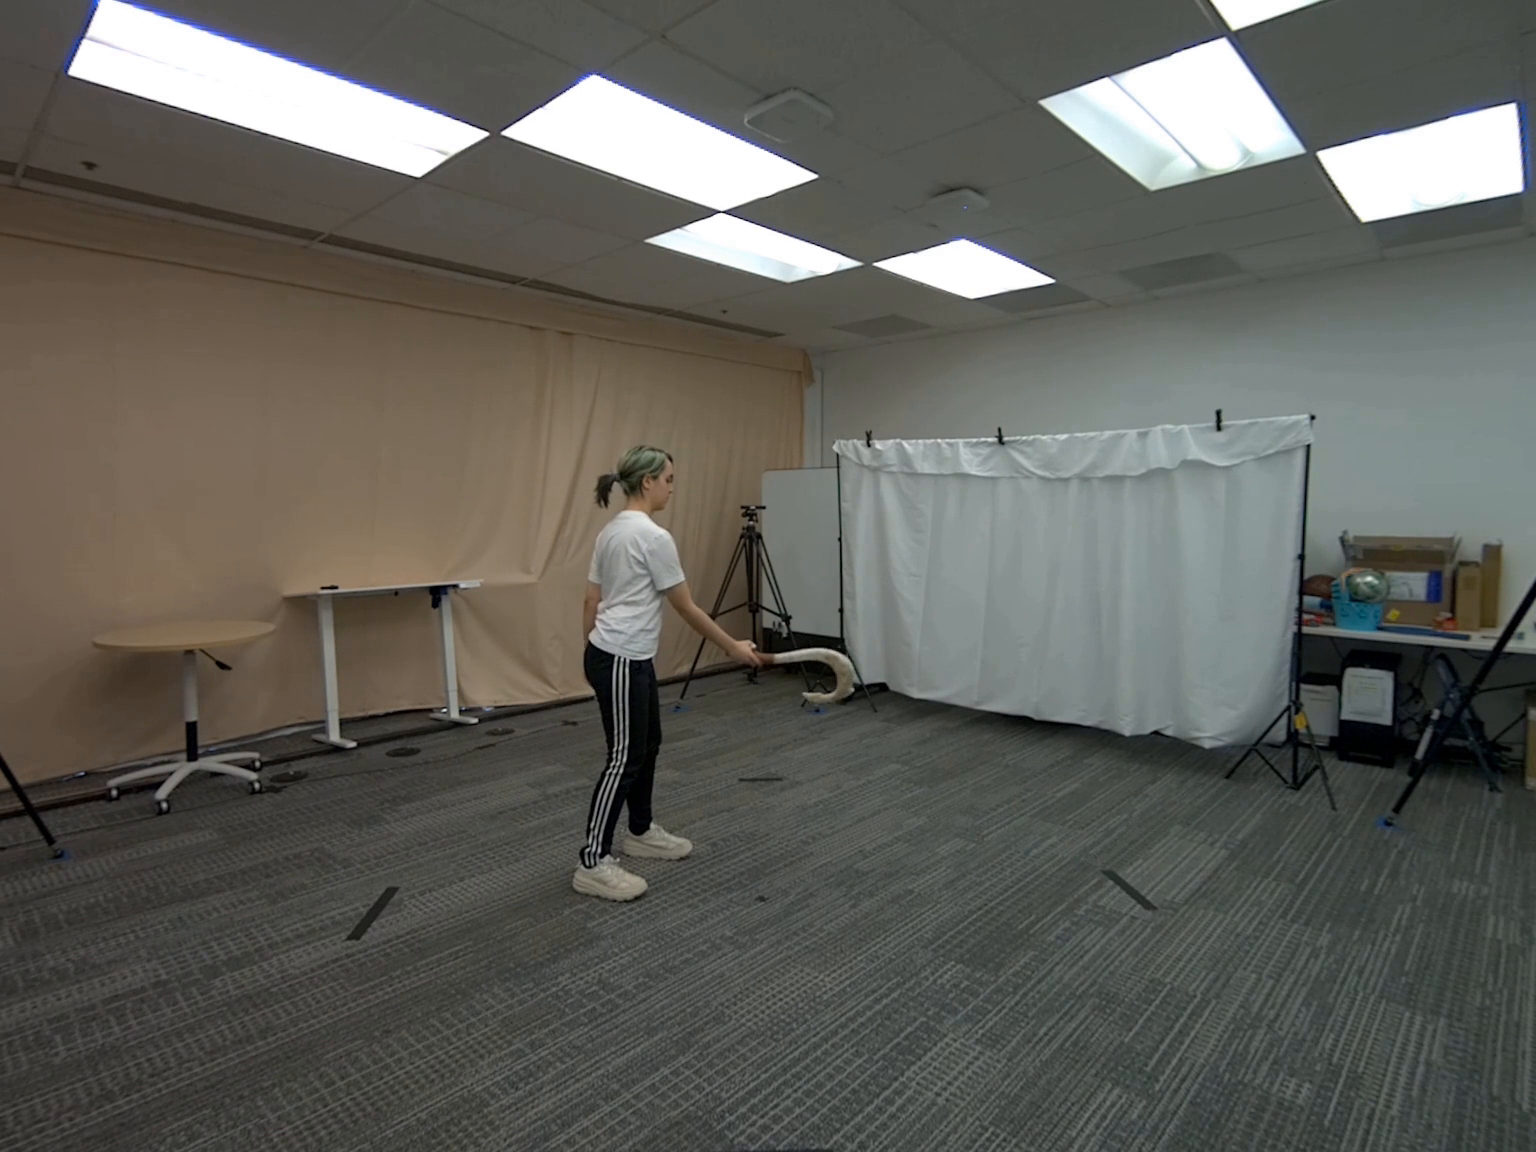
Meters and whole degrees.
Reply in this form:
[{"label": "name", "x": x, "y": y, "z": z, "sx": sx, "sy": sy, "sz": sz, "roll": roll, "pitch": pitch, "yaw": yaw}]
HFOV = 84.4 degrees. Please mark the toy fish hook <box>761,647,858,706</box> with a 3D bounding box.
[{"label": "toy fish hook", "x": 0.080, "y": 0.359, "z": 3.216, "sx": 0.516, "sy": 0.222, "sz": 0.048, "roll": 5, "pitch": 15, "yaw": 18}]
